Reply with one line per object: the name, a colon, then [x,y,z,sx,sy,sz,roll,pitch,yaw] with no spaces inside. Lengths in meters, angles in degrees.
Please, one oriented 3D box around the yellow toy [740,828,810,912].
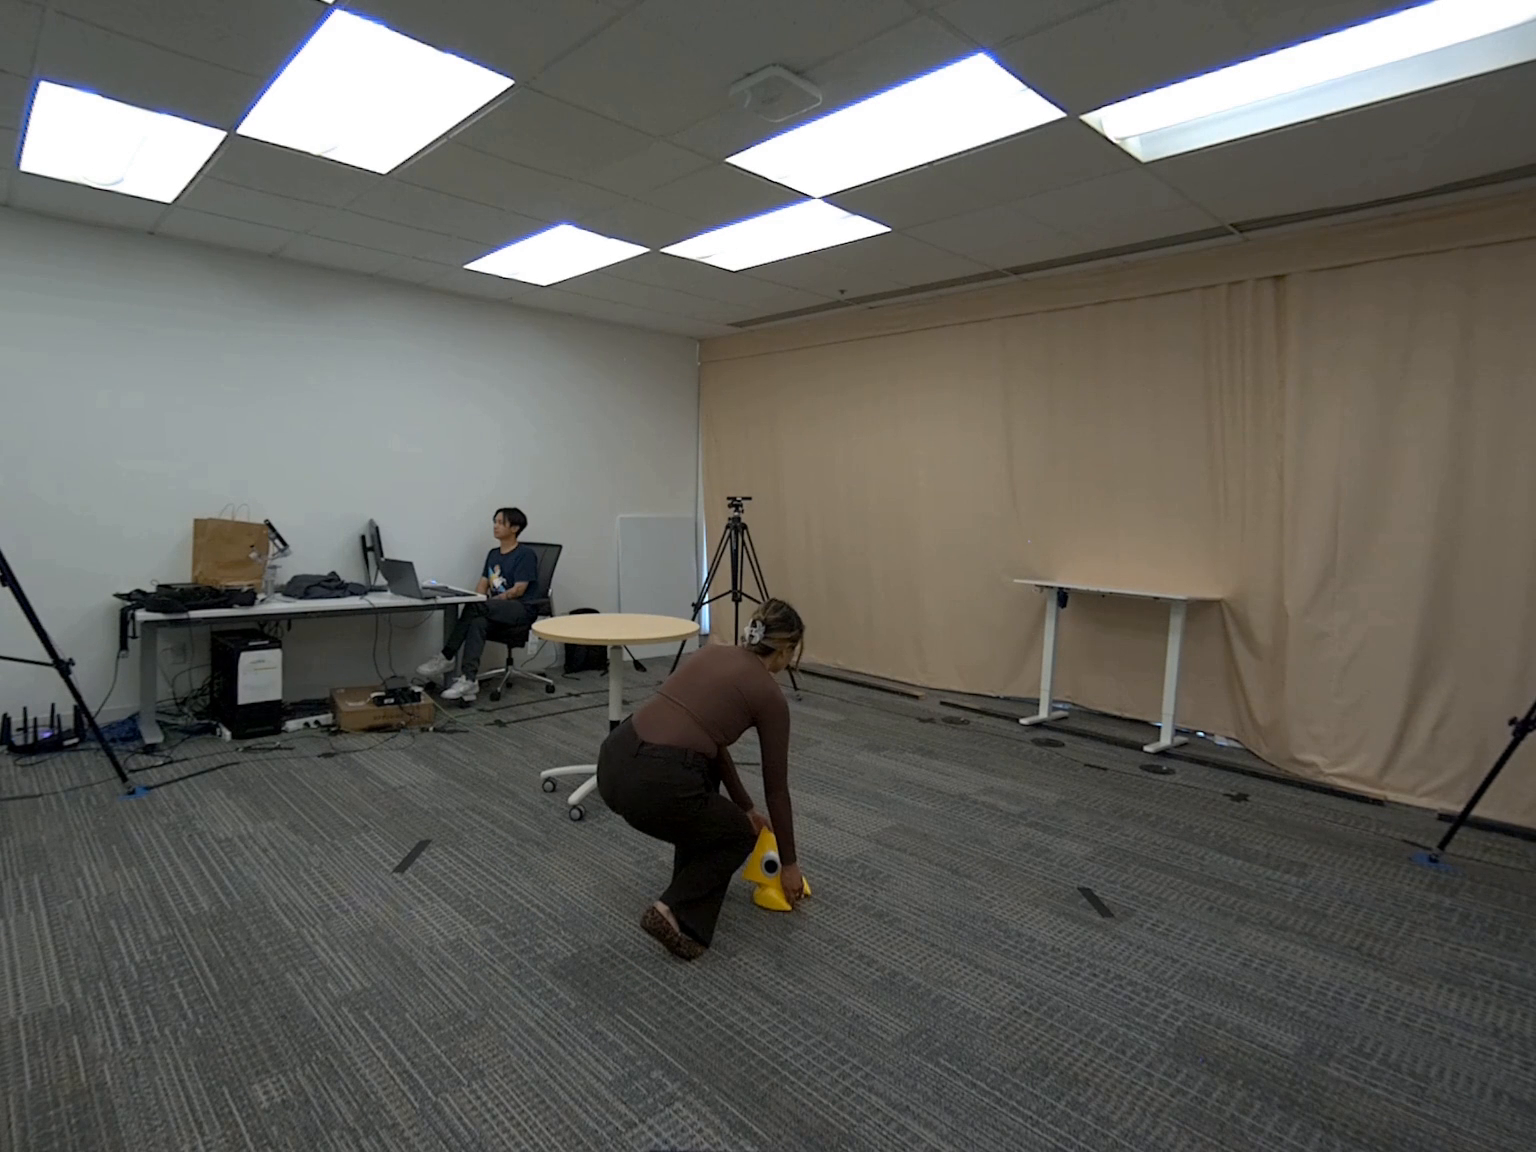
yellow toy: [0.028,0.990,2.926,0.197,0.229,0.201,3,8,35]
